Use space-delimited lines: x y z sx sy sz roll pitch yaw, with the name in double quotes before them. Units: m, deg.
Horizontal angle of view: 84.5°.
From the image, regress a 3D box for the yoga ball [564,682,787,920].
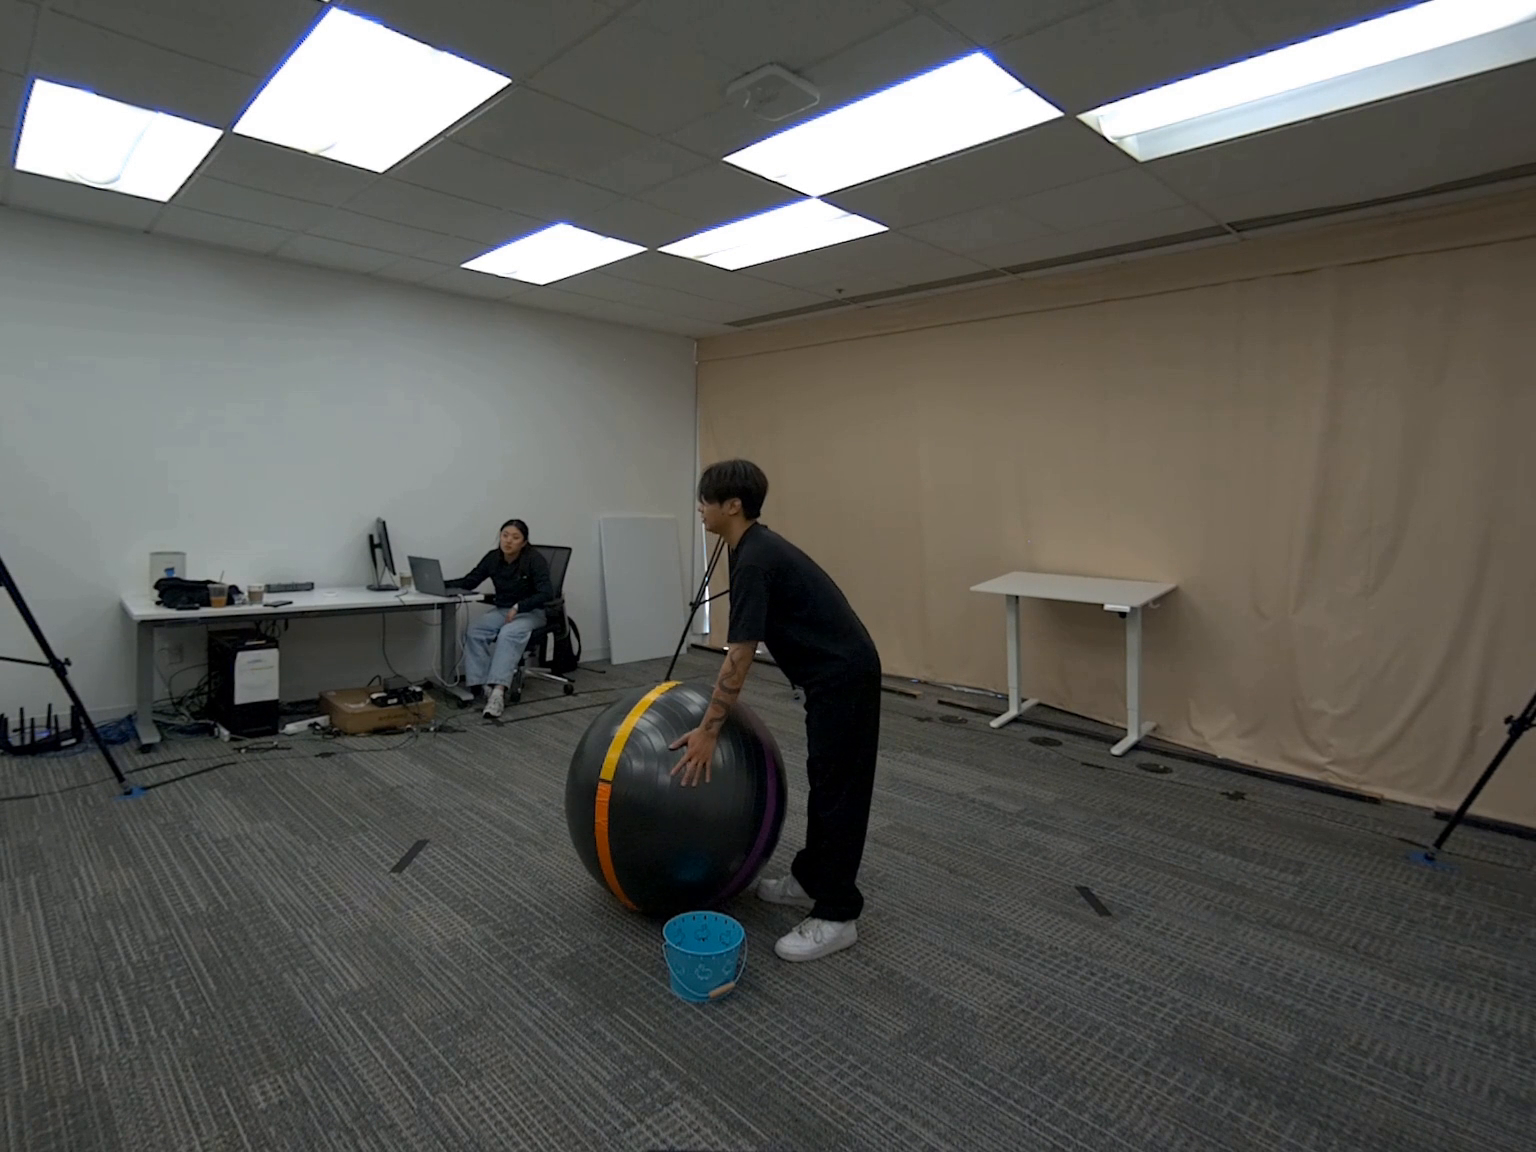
"yoga ball" -0.312 0.749 2.873 0.757 0.756 0.761 1 4 -1
